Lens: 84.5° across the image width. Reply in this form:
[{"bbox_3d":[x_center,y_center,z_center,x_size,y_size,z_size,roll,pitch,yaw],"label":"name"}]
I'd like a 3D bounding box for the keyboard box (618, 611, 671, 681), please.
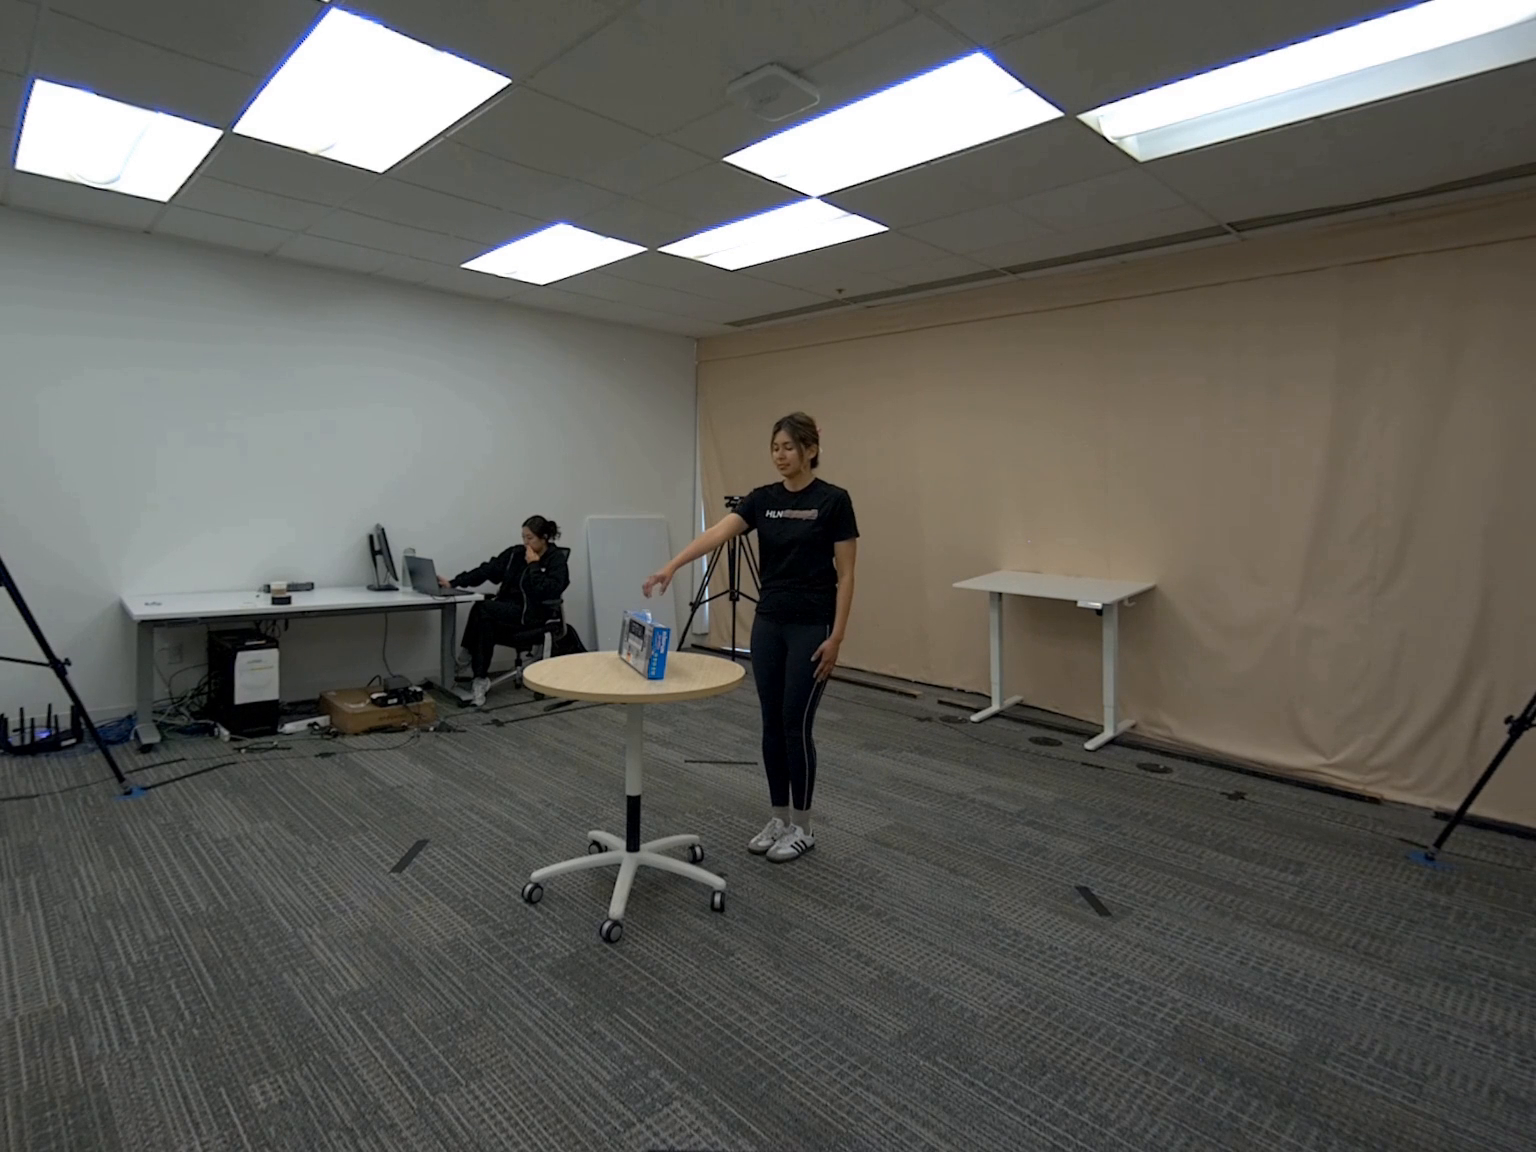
[{"bbox_3d":[-0.449,0.239,2.967,0.058,0.176,0.445,8,2,-22],"label":"keyboard box"}]
